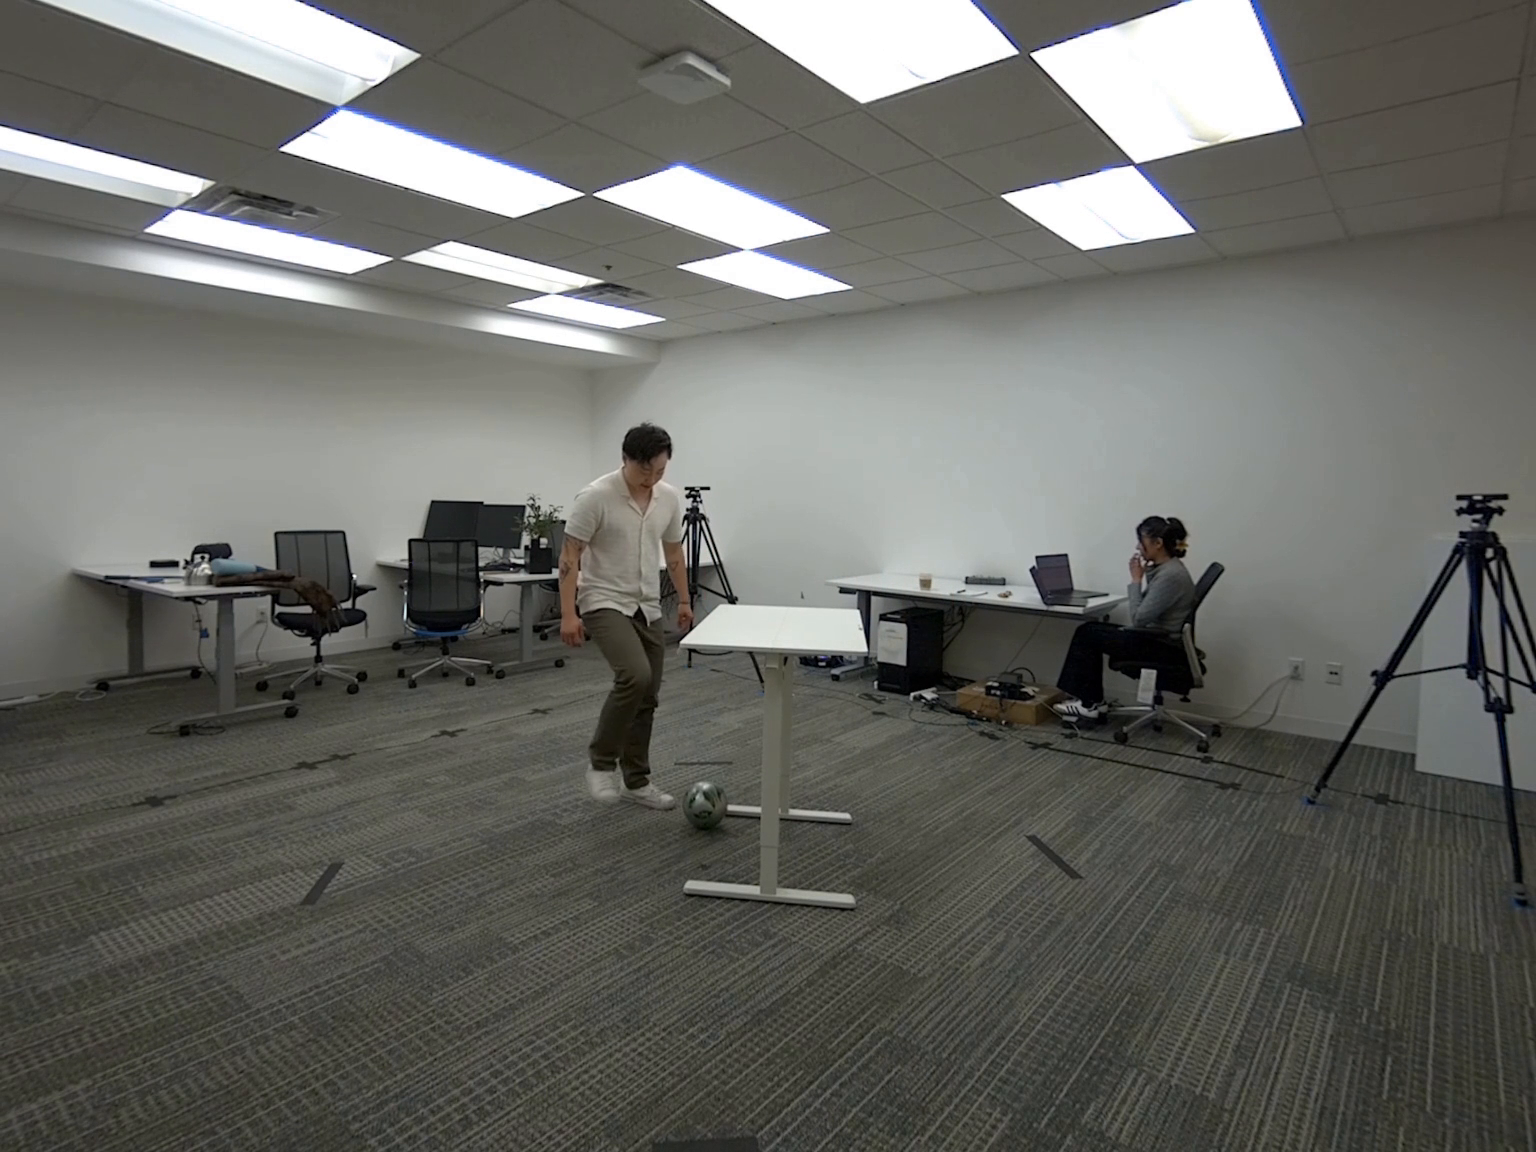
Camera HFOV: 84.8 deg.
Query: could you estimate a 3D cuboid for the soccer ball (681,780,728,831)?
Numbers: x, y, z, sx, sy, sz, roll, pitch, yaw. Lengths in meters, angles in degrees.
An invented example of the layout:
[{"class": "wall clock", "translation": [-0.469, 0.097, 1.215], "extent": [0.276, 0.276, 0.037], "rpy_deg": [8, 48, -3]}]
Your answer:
[{"class": "soccer ball", "translation": [-0.266, 0.937, 3.484], "extent": [0.187, 0.187, 0.188], "rpy_deg": [1, 4, -2]}]
